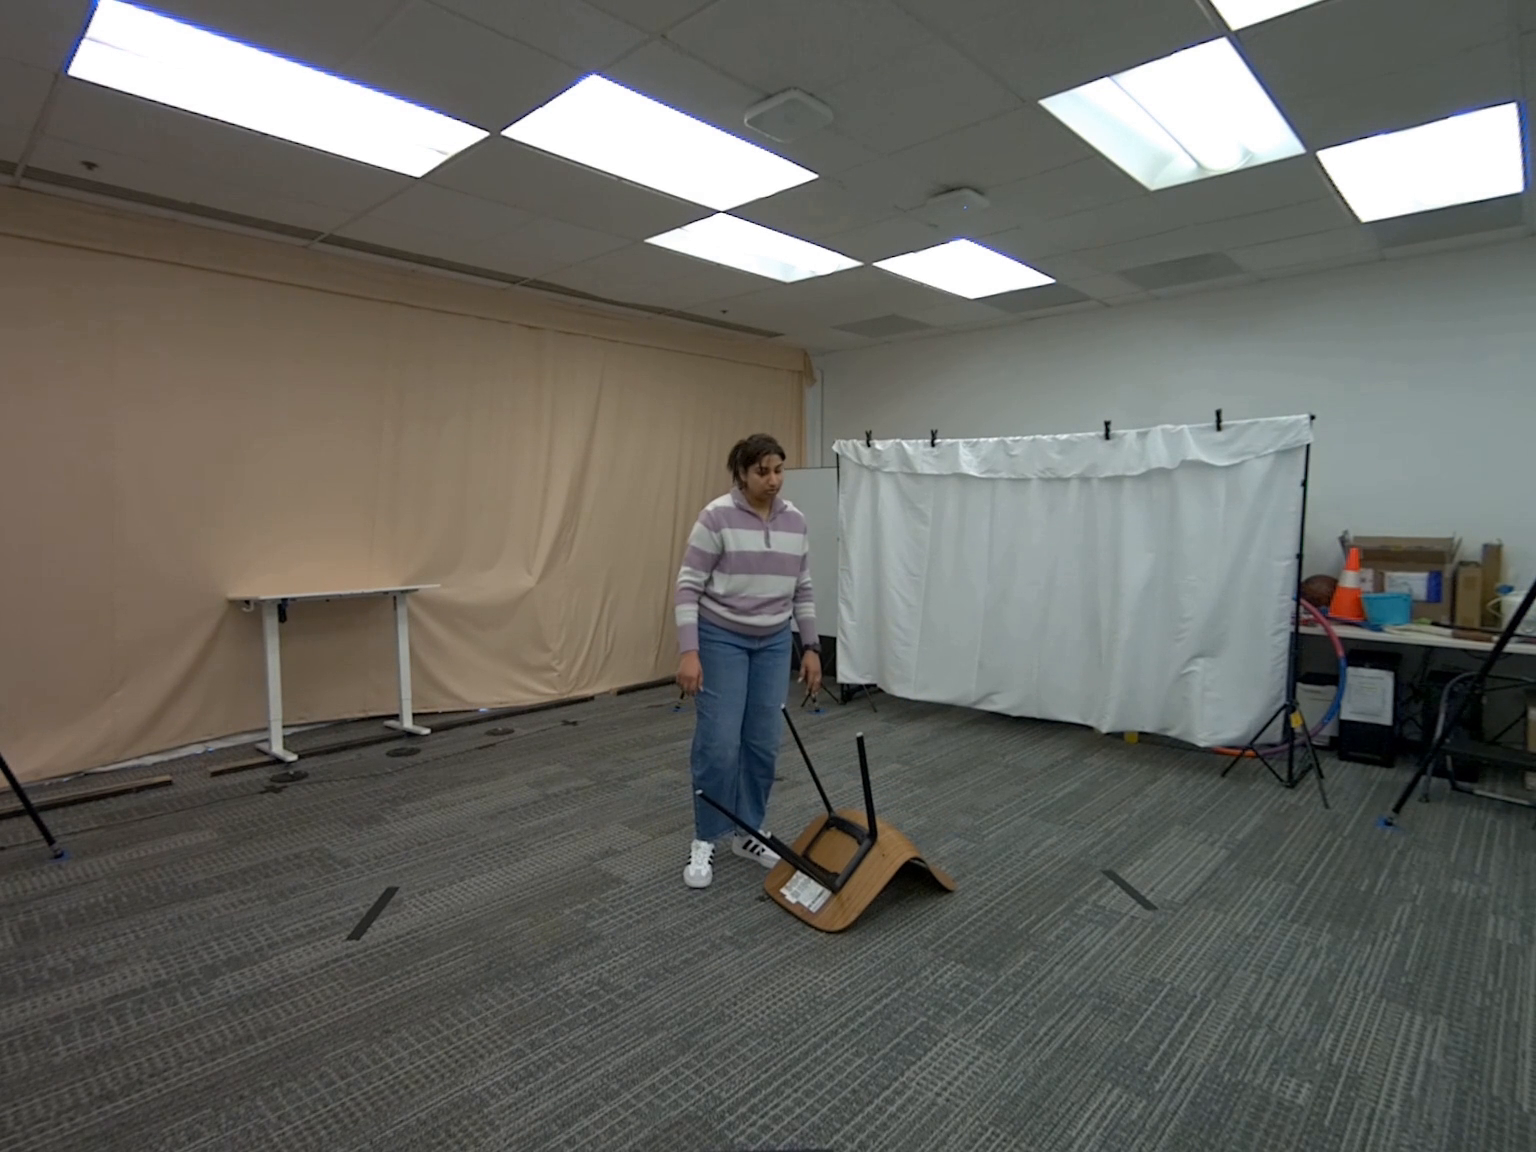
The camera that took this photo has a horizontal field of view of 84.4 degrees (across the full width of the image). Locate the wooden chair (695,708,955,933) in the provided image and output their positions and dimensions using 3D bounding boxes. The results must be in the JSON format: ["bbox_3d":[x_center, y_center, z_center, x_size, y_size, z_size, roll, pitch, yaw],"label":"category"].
[{"bbox_3d":[0.232,0.974,2.972,0.520,0.856,0.493,-46,25,-22],"label":"wooden chair"}]
